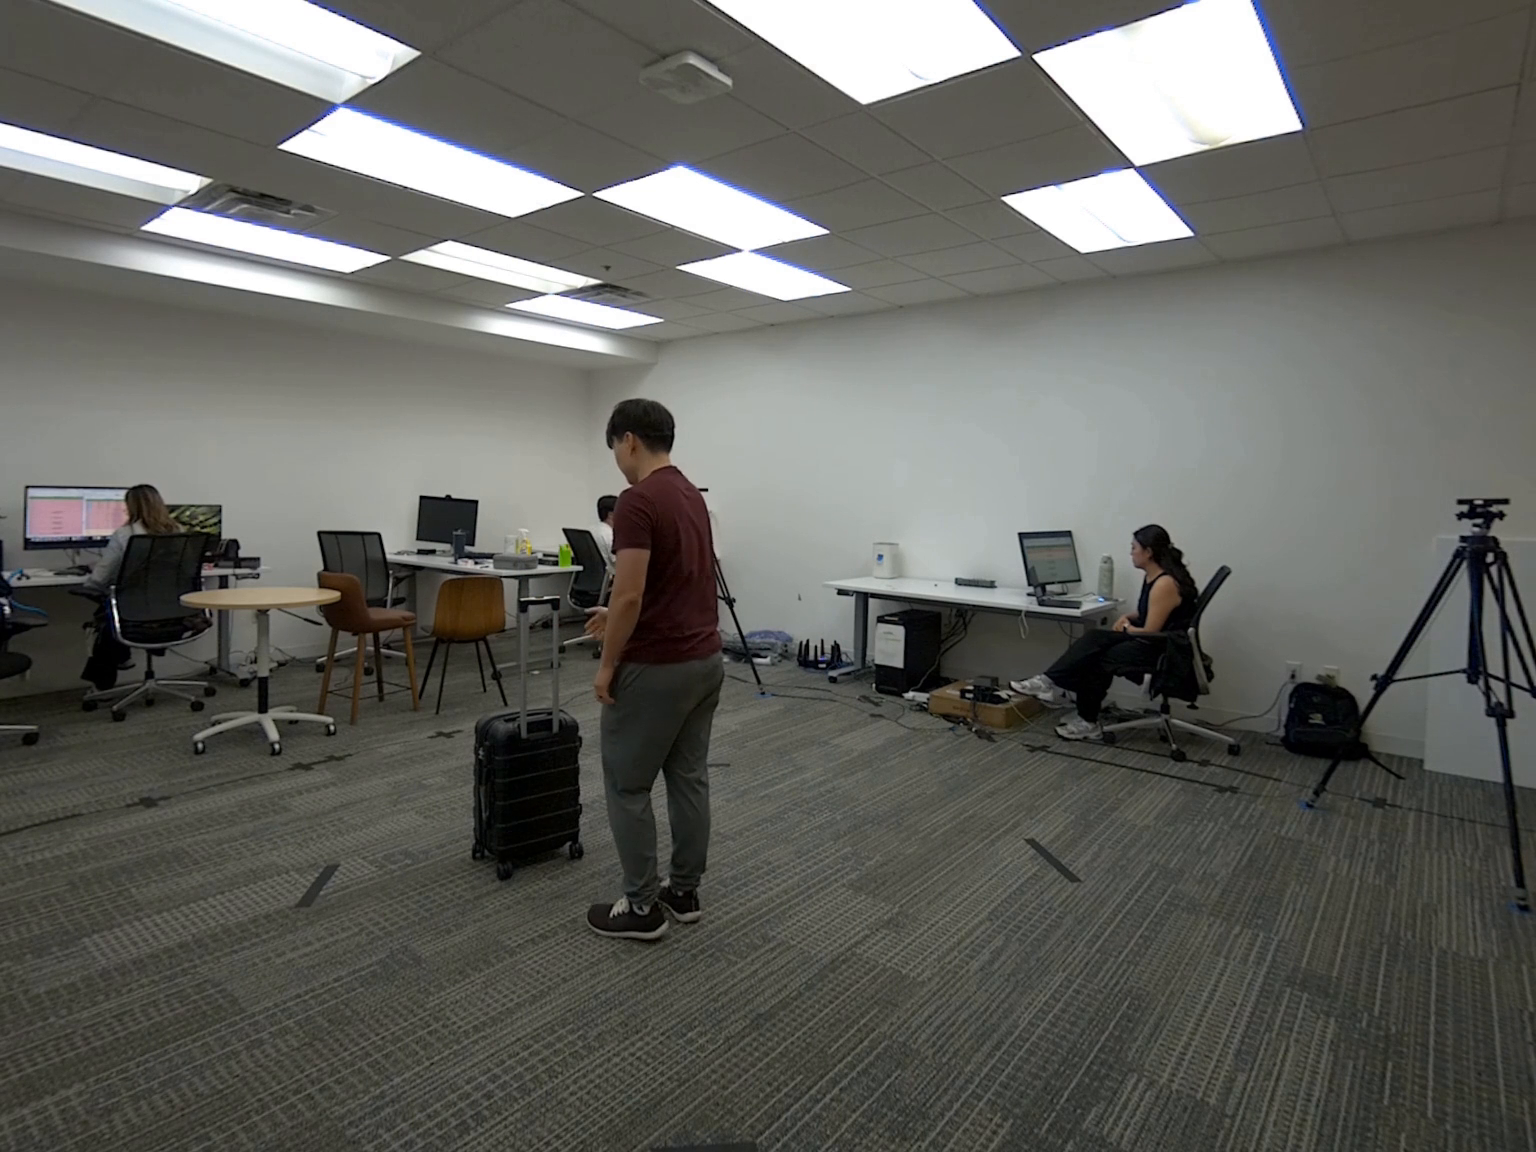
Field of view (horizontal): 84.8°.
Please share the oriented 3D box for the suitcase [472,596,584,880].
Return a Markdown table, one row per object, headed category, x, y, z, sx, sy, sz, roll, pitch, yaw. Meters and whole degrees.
| category | x | y | z | sx | sy | sz | roll | pitch | yaw |
| --- | --- | --- | --- | --- | --- | --- | --- | --- | --- |
| suitcase | -0.920 | 0.575 | 3.188 | 0.373 | 0.979 | 0.265 | -1 | -1 | -36 |
